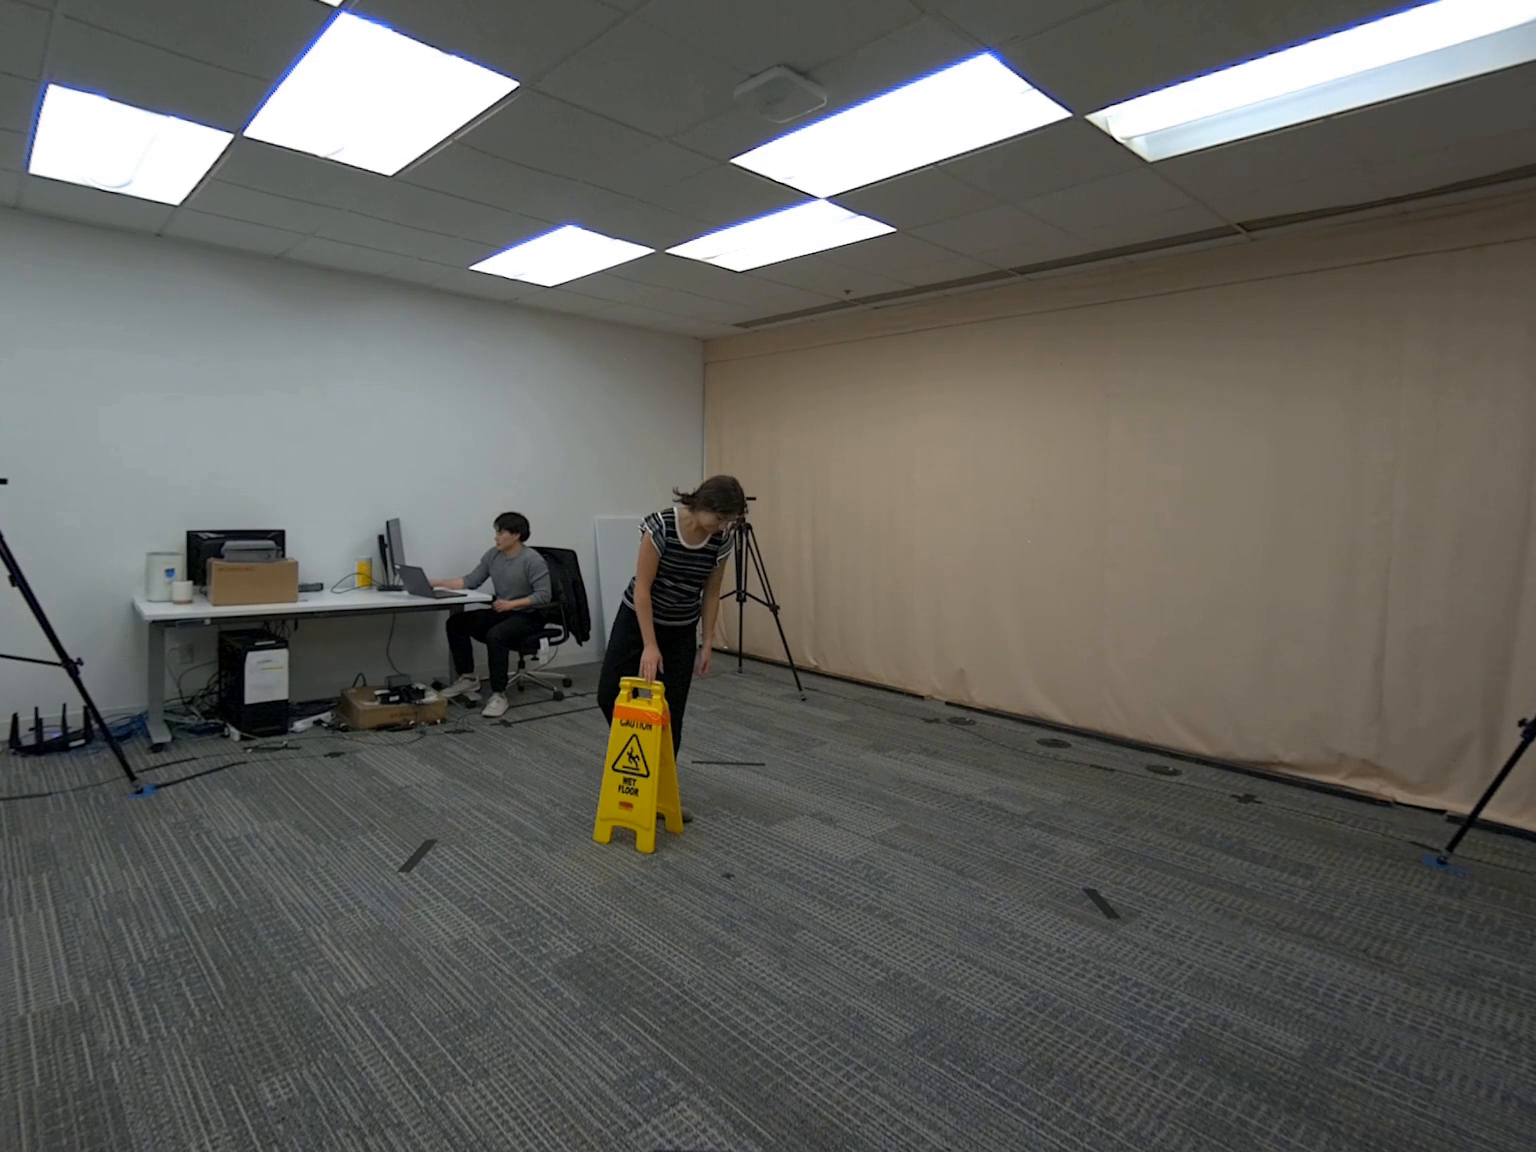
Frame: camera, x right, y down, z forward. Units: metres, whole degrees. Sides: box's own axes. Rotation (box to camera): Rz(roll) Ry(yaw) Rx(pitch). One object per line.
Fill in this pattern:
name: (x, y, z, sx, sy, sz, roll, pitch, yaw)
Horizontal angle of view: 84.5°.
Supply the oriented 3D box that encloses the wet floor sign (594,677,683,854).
wet floor sign: (-0.533, 0.746, 3.443, 0.287, 0.644, 0.285, 4, 3, 23)
